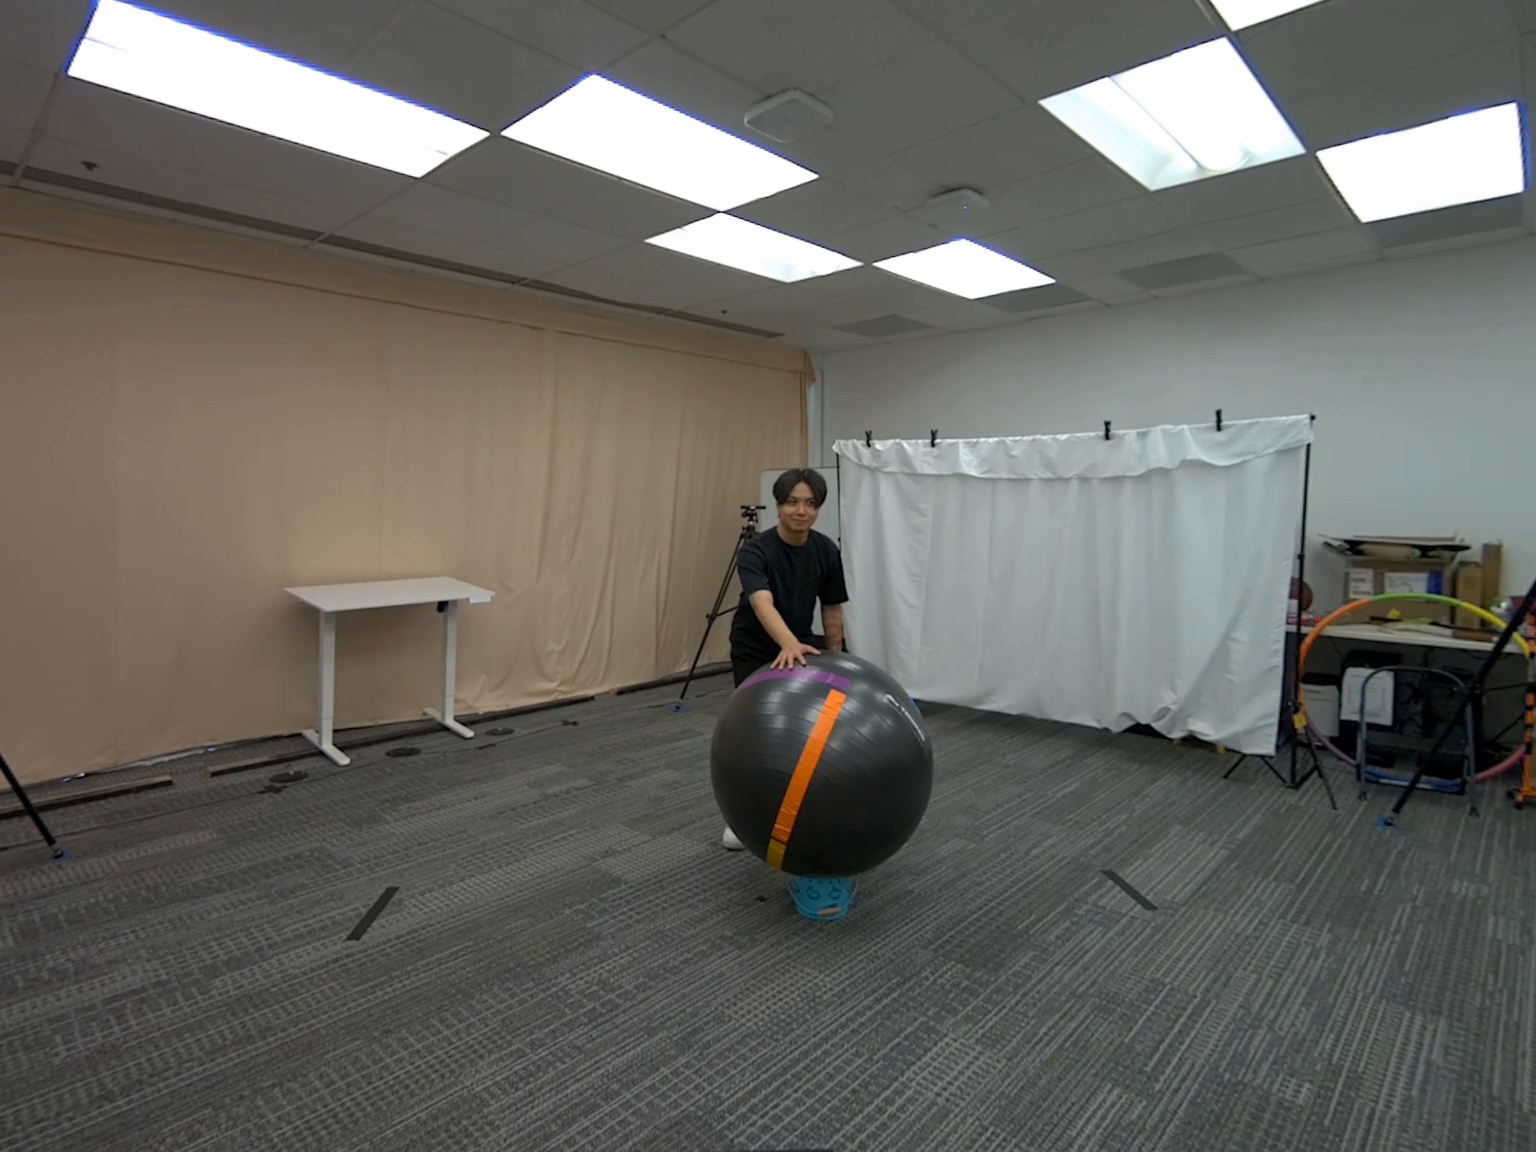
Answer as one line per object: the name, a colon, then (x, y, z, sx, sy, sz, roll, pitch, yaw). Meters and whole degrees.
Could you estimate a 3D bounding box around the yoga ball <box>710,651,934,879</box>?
yoga ball: (0.186, 0.646, 2.888, 0.757, 0.756, 0.760, 0, 4, -2)
